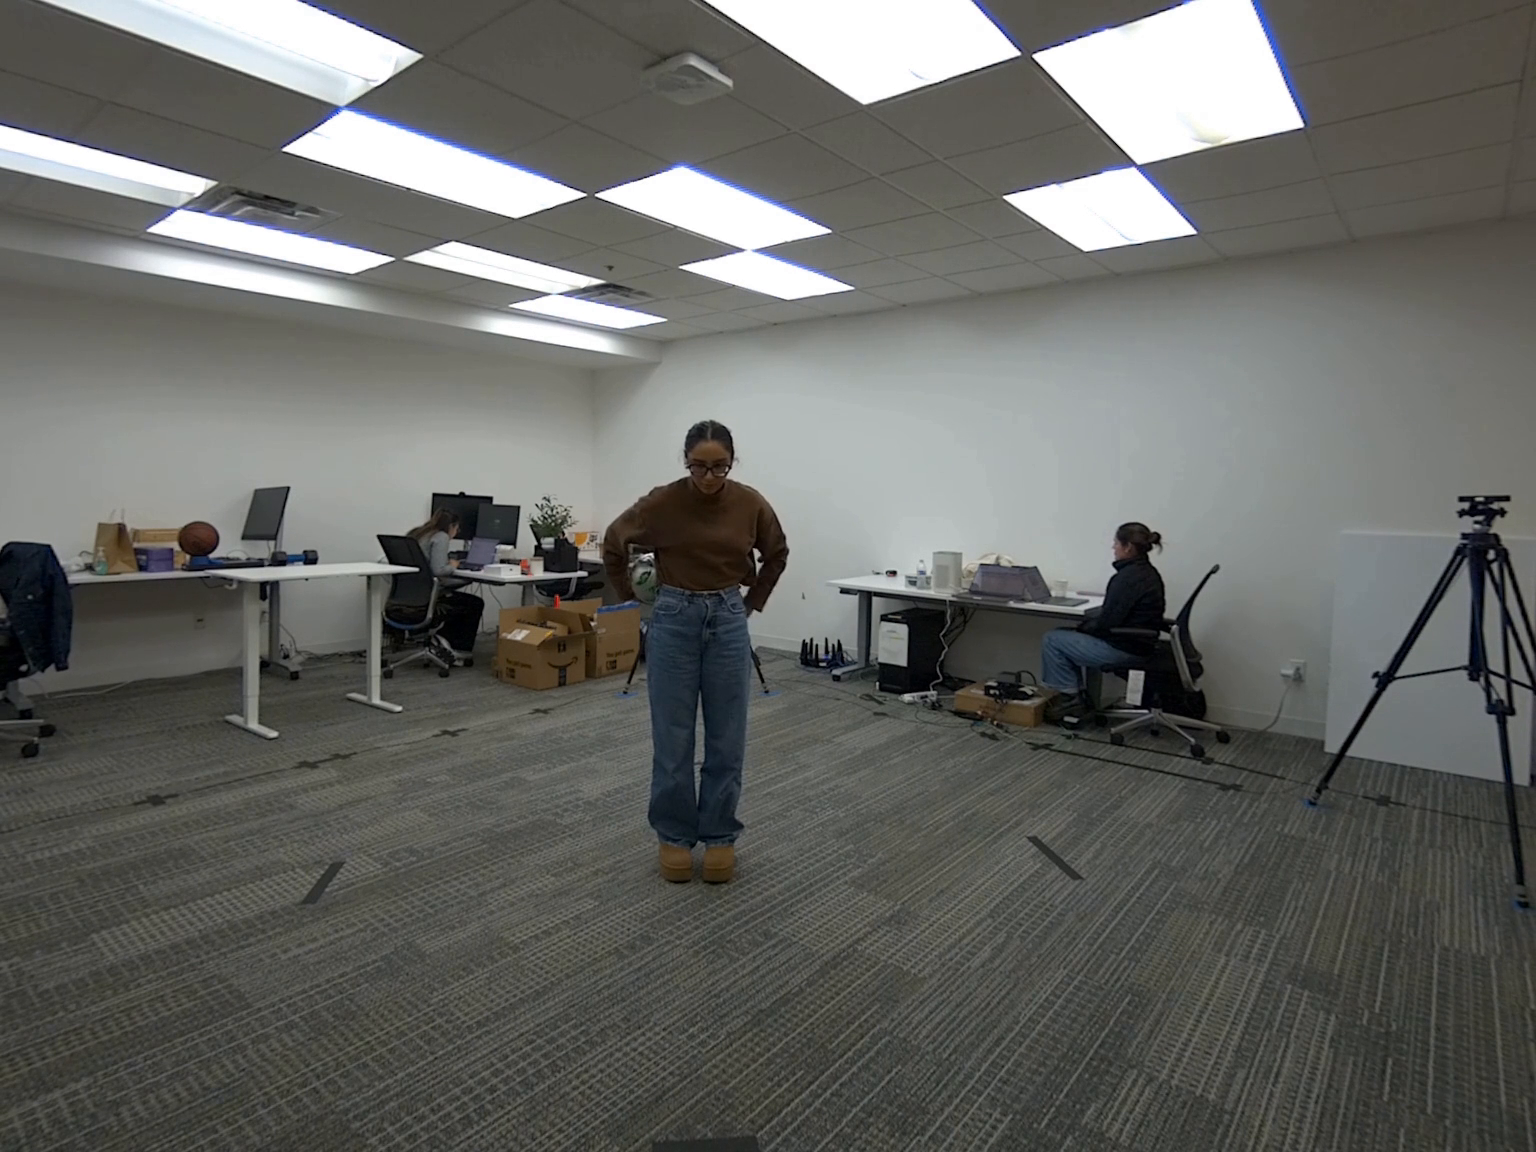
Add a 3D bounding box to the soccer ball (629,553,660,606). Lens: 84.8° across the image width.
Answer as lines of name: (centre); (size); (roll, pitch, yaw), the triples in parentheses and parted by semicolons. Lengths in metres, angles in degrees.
soccer ball: (-0.442, 0.006, 3.182); (0.187, 0.187, 0.188); (1, 4, -2)
